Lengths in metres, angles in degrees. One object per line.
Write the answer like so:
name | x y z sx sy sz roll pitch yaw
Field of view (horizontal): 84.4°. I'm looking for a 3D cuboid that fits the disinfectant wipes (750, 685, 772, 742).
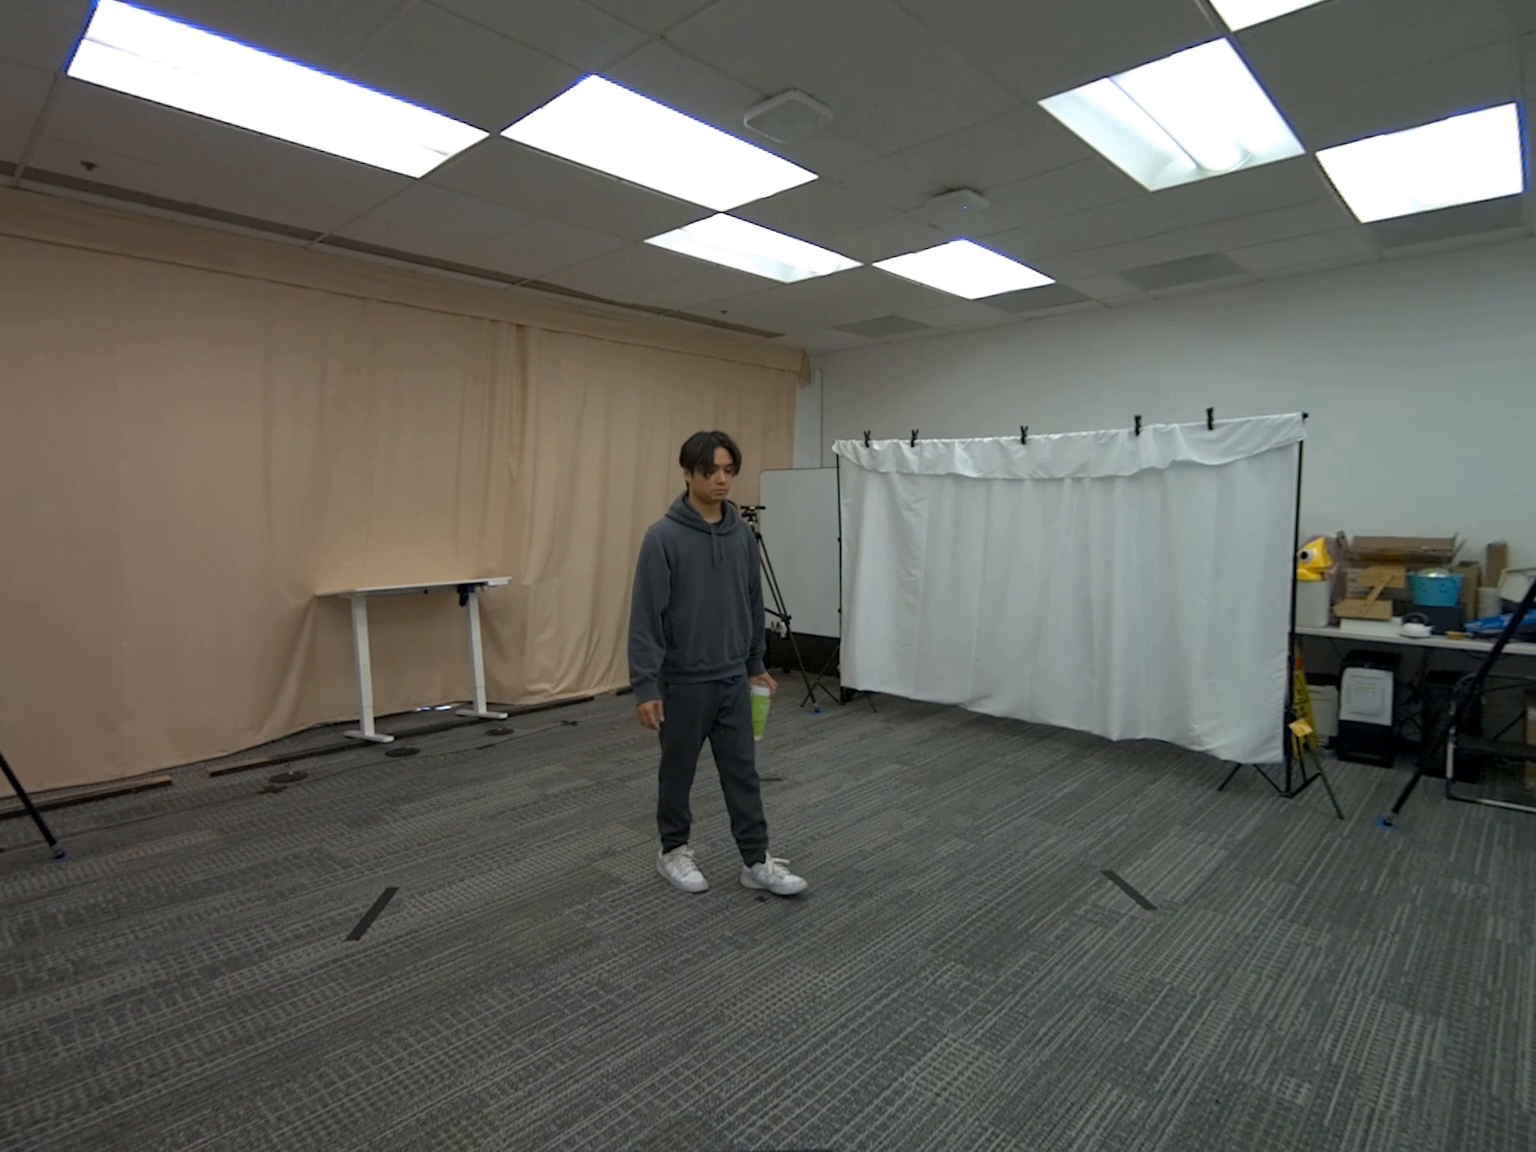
disinfectant wipes | -0.051 0.520 3.261 0.117 0.216 0.119 10 10 -4
